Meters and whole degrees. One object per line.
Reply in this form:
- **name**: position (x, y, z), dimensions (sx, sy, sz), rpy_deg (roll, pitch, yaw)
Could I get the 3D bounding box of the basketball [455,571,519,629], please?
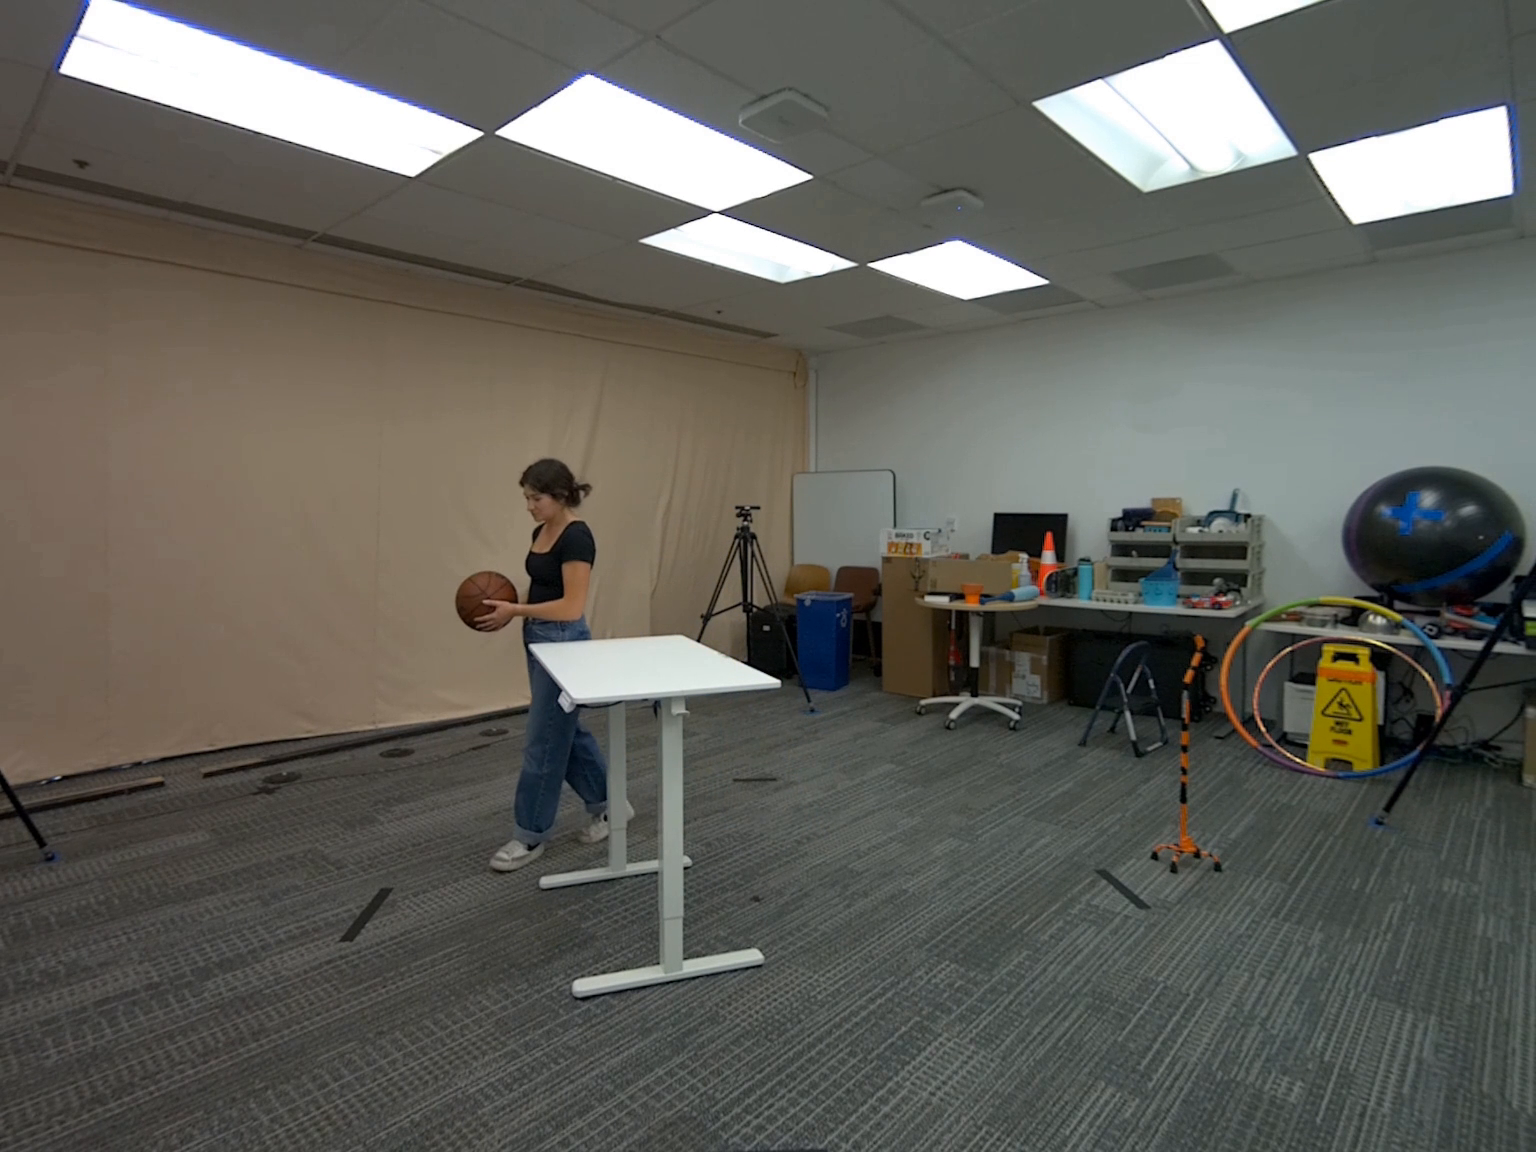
- **basketball**: position (-1.090, 0.099, 3.292), dimensions (0.236, 0.235, 0.237), rpy_deg (0, 4, -2)
